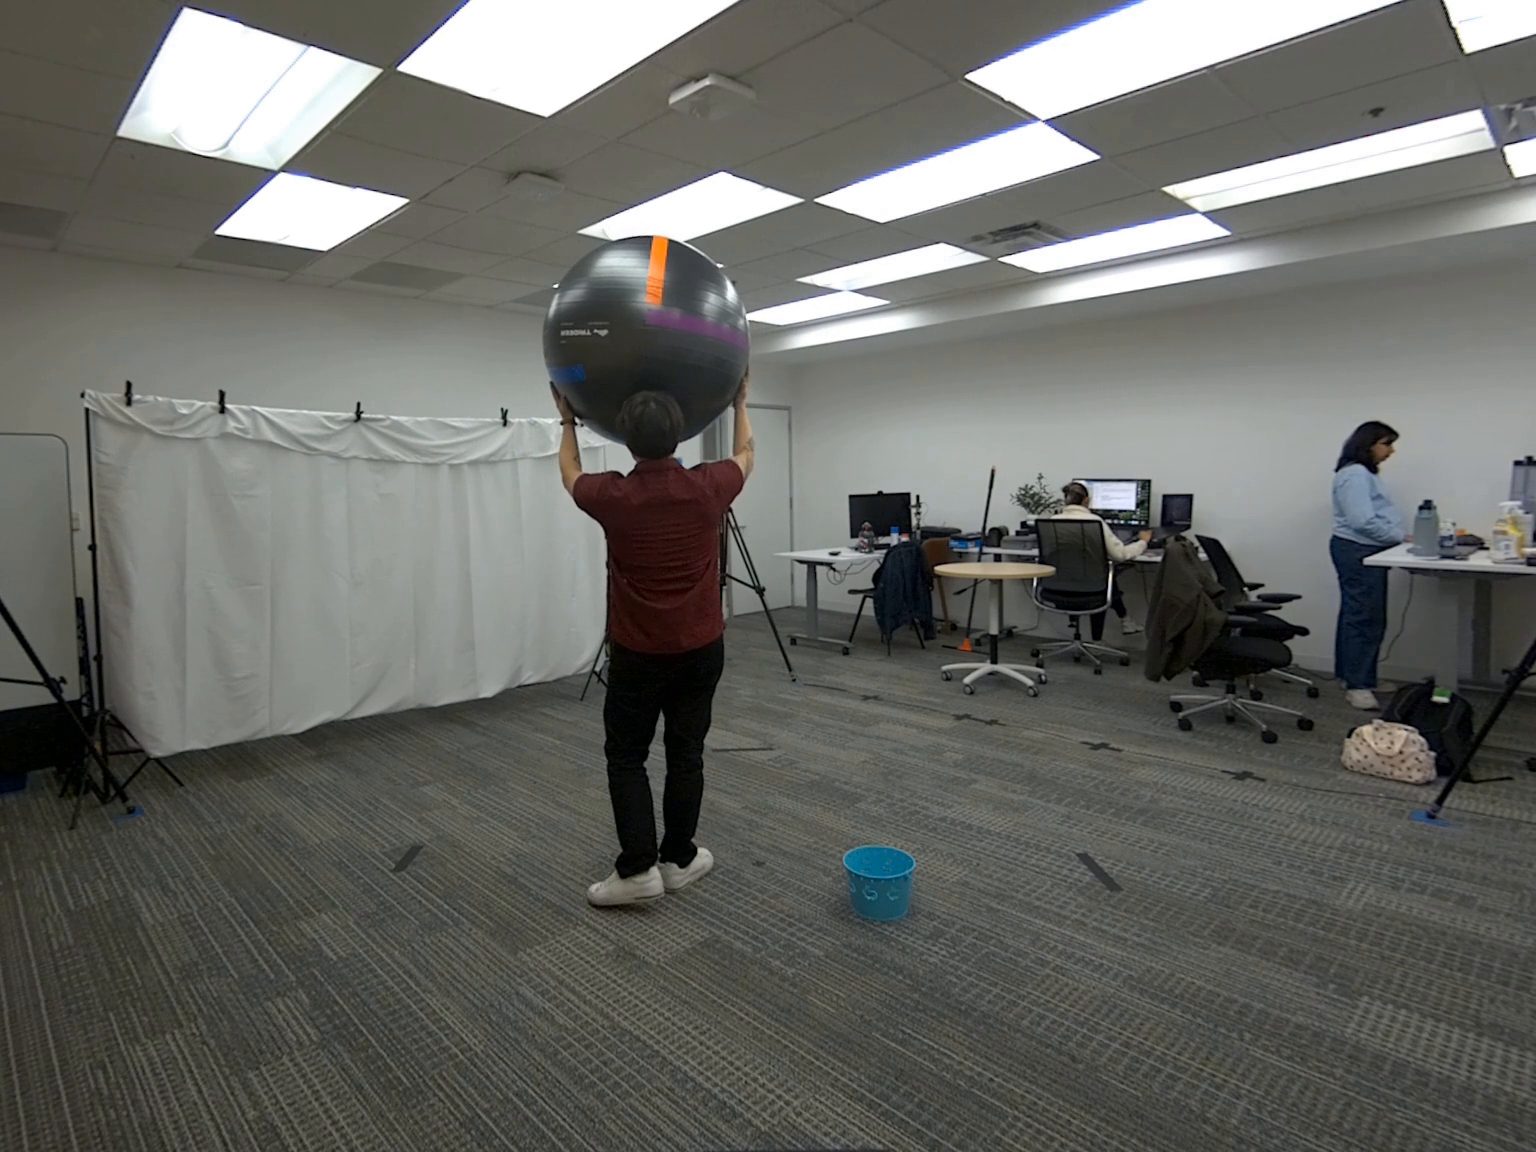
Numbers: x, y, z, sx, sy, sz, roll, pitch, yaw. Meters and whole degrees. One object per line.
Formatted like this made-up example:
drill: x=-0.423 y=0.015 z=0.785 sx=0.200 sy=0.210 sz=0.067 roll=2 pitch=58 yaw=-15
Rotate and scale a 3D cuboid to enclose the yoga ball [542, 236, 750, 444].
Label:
yoga ball: x=-0.451 y=-0.852 z=3.141 sx=0.757 sy=0.755 sz=0.762 roll=-1 pitch=5 yaw=-2
